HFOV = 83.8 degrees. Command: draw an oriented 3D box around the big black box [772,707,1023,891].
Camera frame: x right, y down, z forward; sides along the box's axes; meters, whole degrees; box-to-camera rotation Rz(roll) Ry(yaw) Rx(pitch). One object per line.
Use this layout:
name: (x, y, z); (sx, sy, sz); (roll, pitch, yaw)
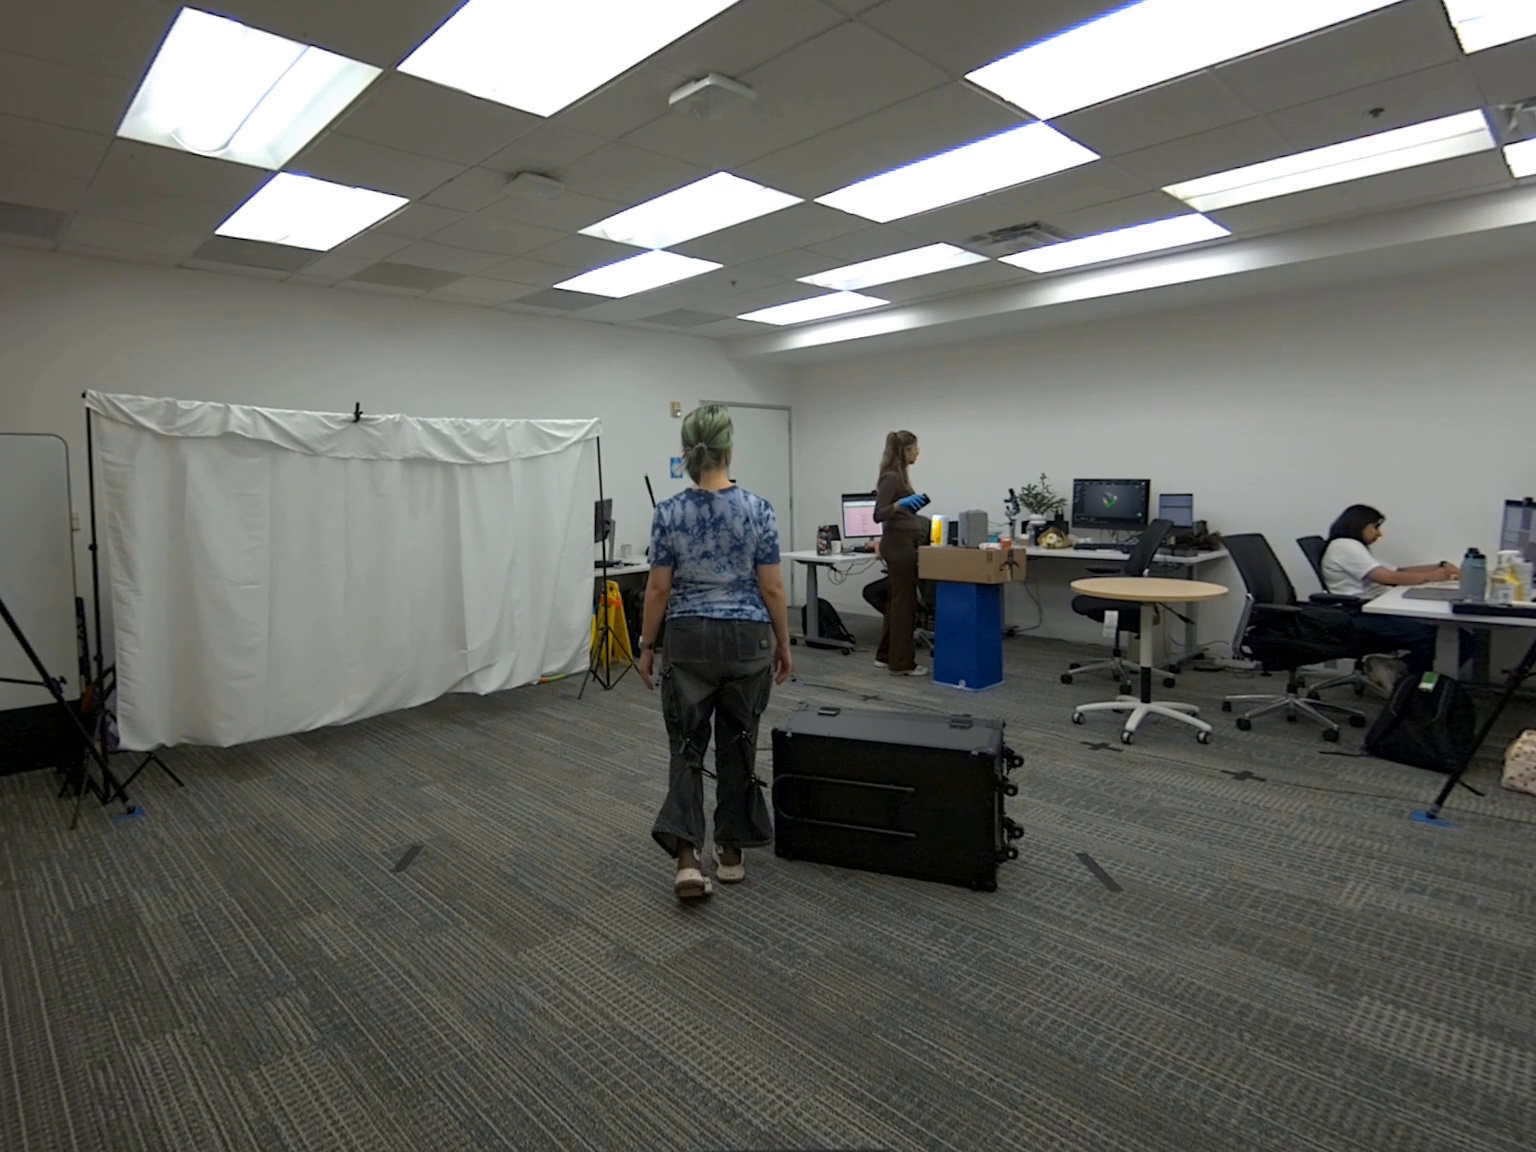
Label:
big black box: (0.472, 0.780, 3.120); (0.879, 0.518, 0.390); (1, 7, 22)
